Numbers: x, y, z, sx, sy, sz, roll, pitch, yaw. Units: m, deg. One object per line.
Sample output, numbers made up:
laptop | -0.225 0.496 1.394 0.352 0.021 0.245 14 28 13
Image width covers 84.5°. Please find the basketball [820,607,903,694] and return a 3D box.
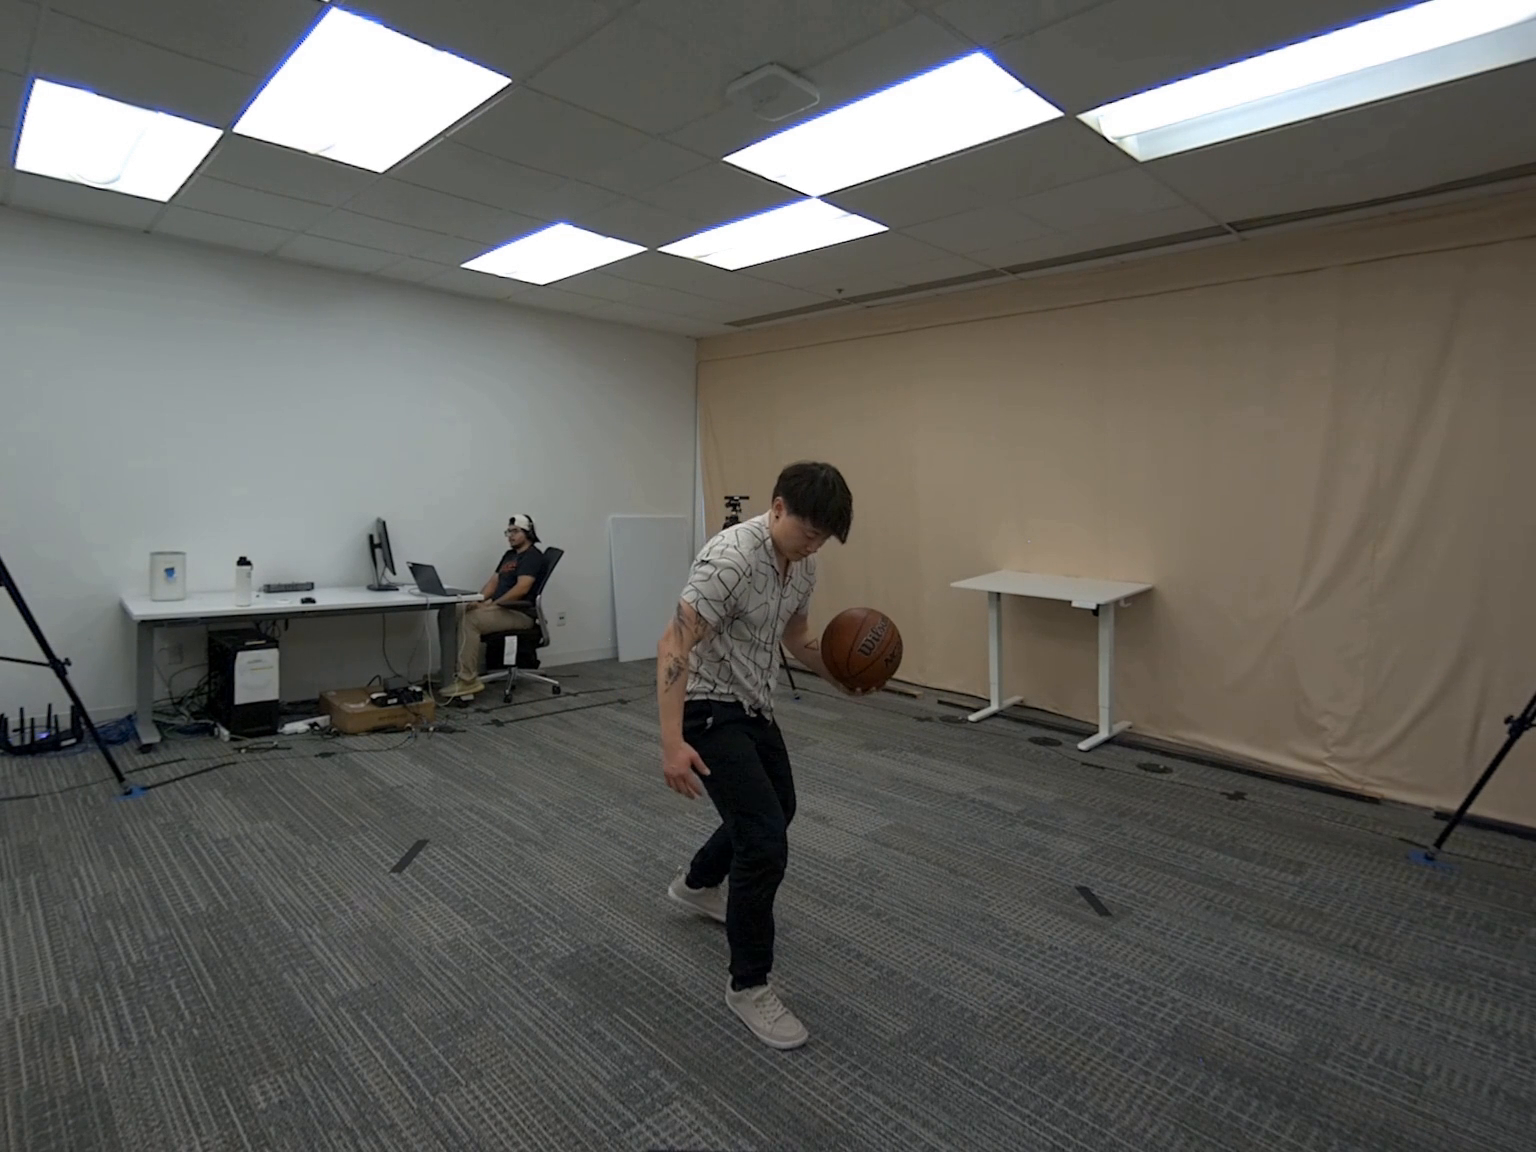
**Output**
basketball | 0.272 0.218 2.470 0.236 0.235 0.237 1 4 -1
